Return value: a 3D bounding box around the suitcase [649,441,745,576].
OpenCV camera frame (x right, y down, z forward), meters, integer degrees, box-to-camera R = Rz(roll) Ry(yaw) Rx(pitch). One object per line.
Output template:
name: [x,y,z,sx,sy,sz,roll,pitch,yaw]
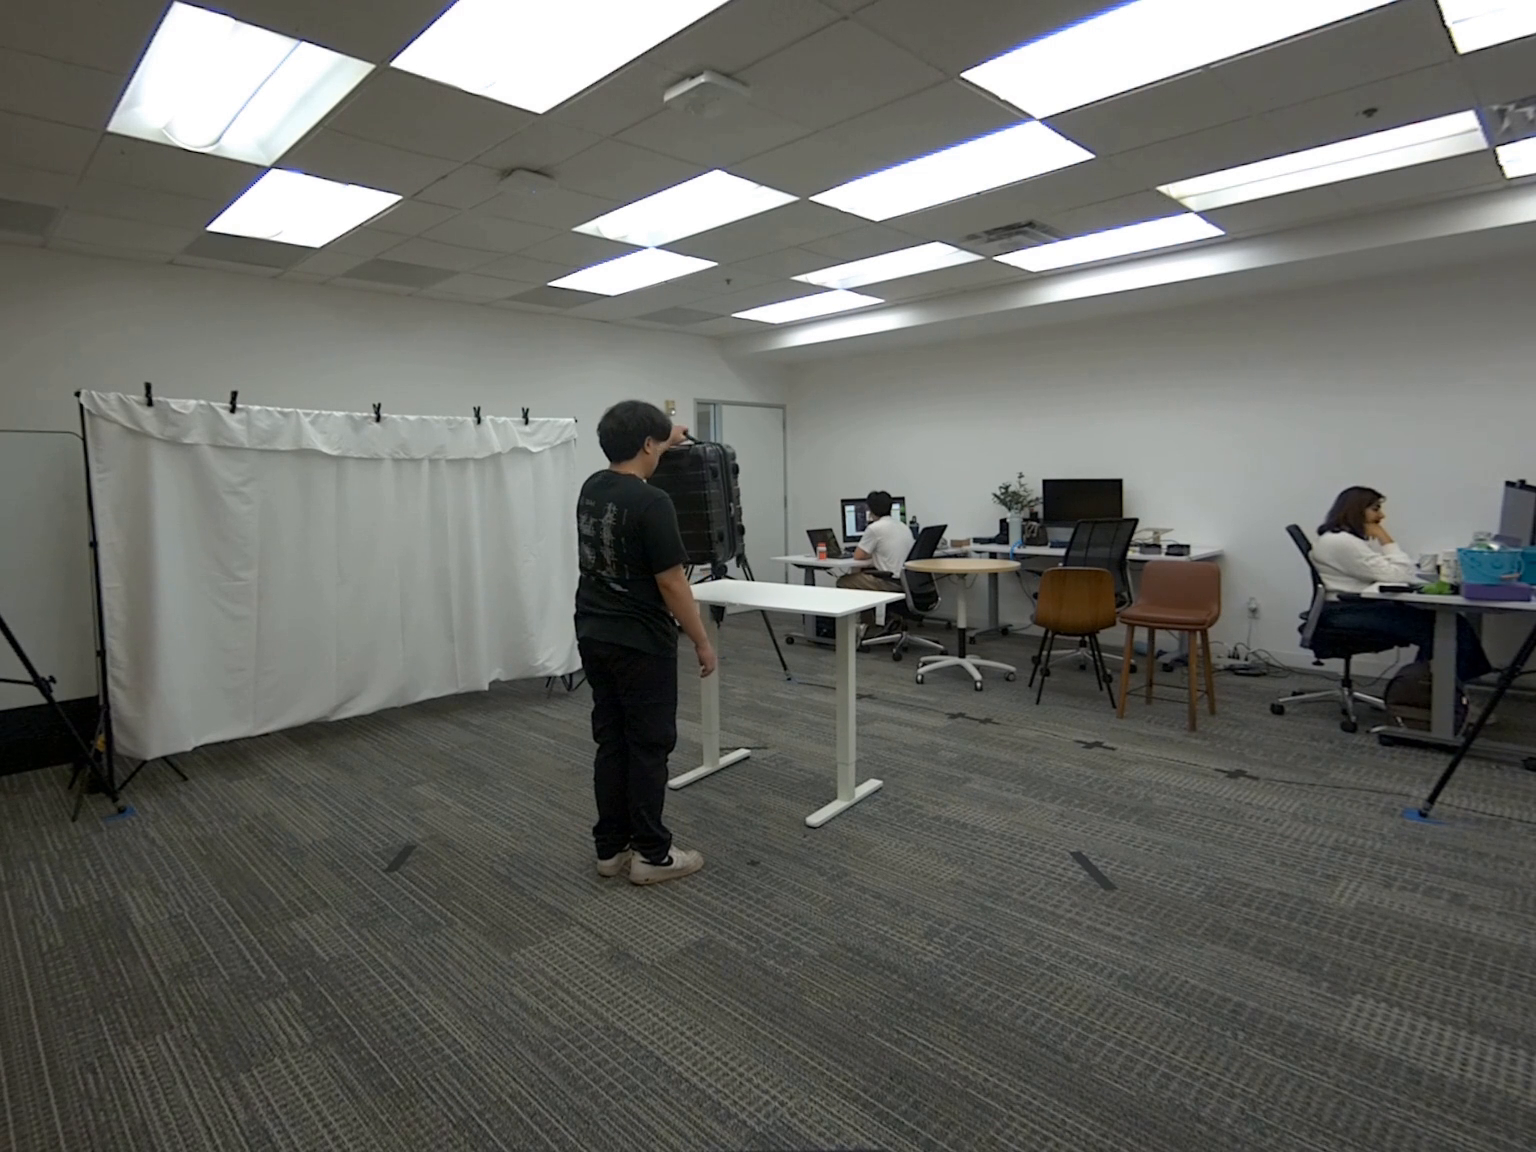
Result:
suitcase: [-0.312,-0.283,3.607,0.385,0.546,0.243,-2,6,34]
